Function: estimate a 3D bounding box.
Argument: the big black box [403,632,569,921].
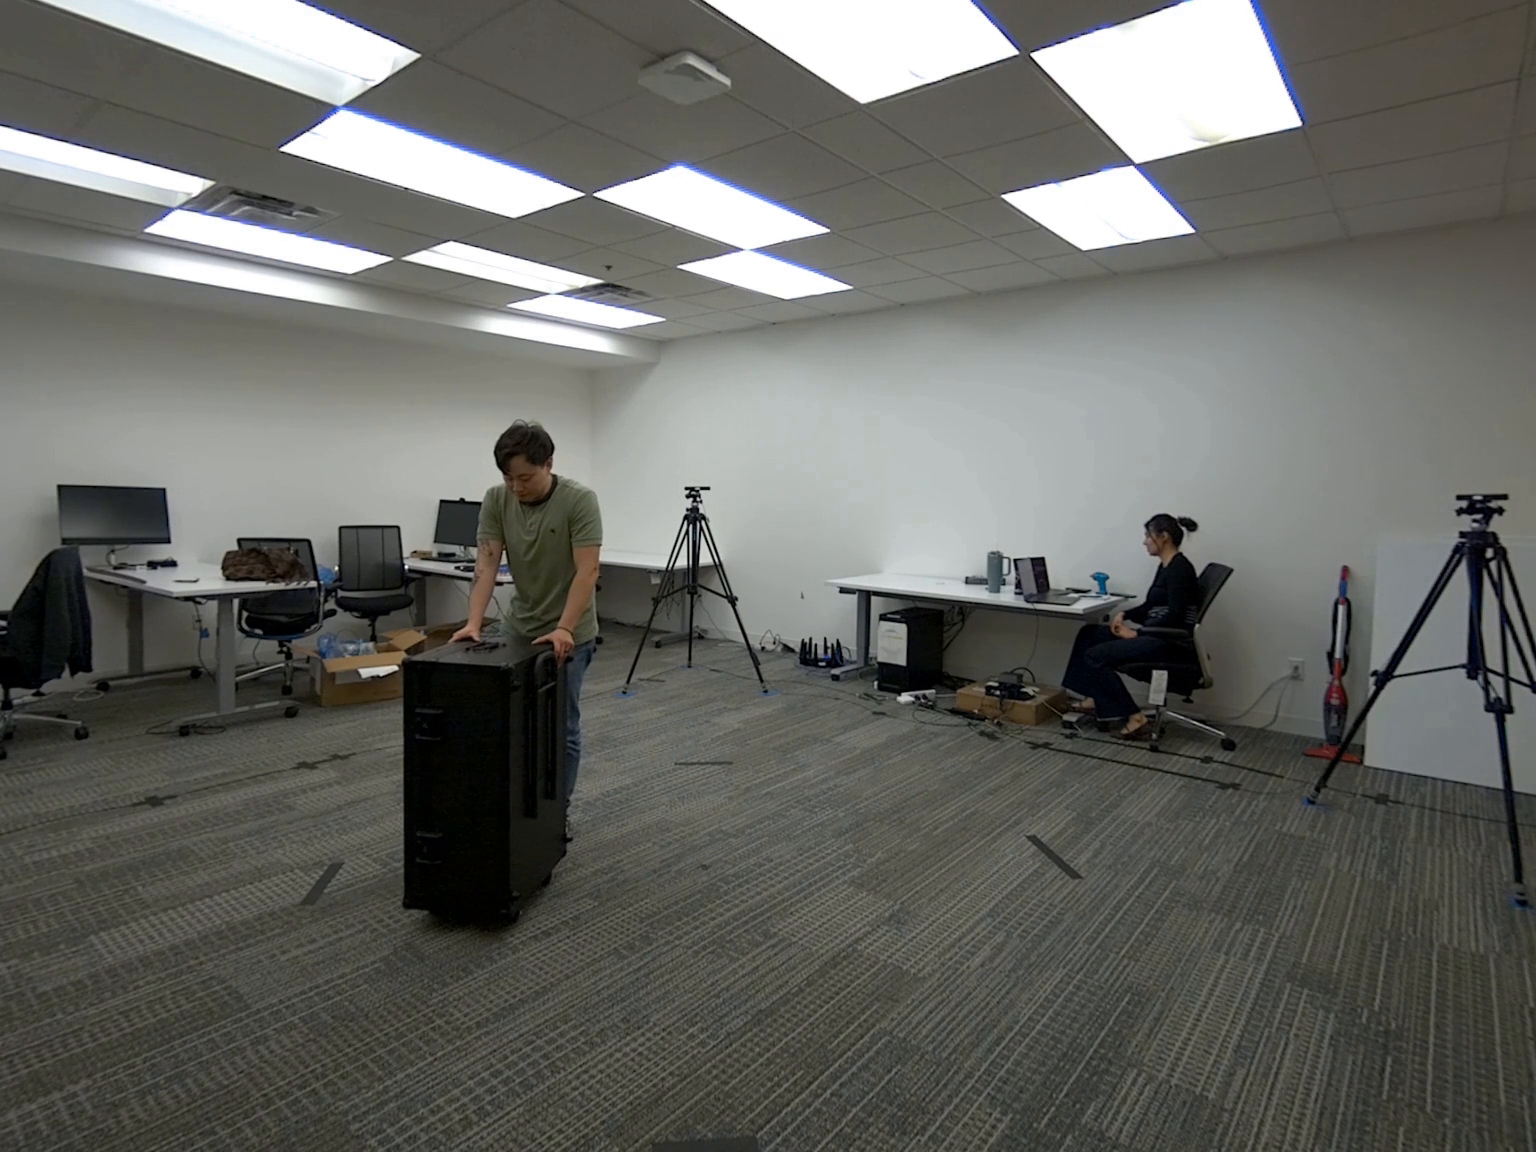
[{"bbox_3d":[-0.922,0.666,2.831,0.401,0.860,0.517,2,2,8],"label":"big black box"}]
